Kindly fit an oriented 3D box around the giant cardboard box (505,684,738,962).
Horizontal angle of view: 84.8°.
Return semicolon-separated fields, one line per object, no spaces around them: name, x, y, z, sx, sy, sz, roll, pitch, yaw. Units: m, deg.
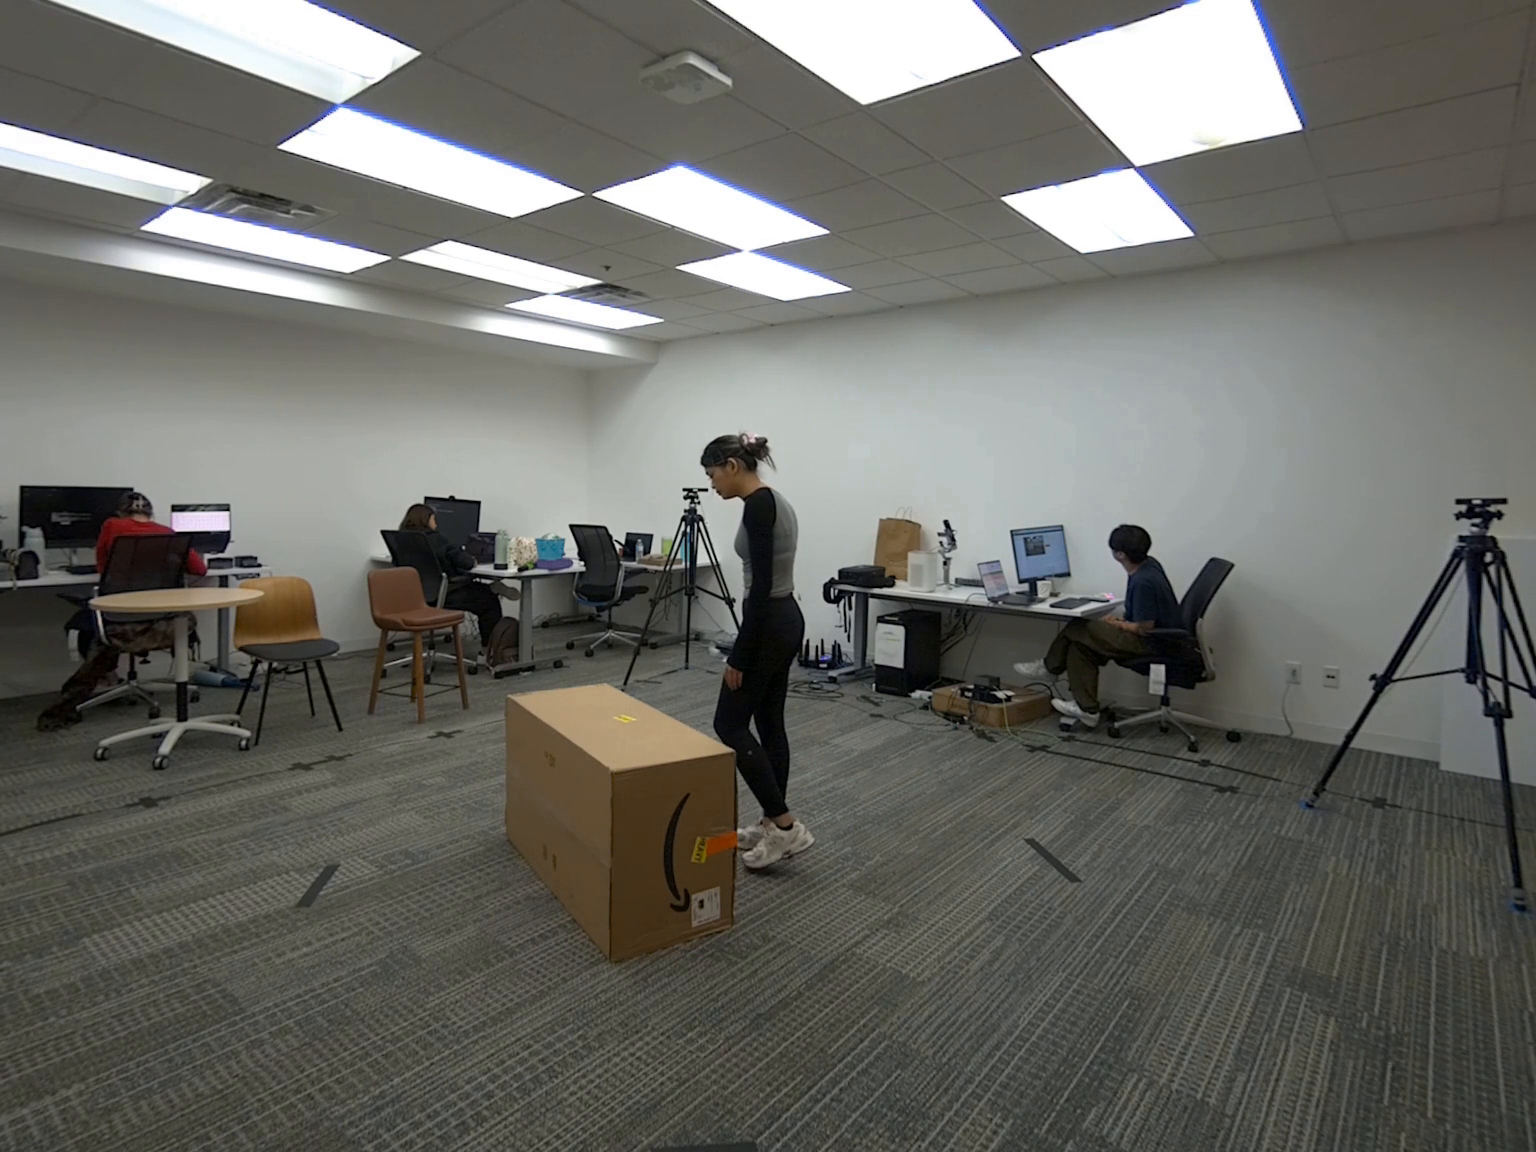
giant cardboard box;-0.571;0.785;2.999;0.414;0.575;1.059;-2;6;-33
